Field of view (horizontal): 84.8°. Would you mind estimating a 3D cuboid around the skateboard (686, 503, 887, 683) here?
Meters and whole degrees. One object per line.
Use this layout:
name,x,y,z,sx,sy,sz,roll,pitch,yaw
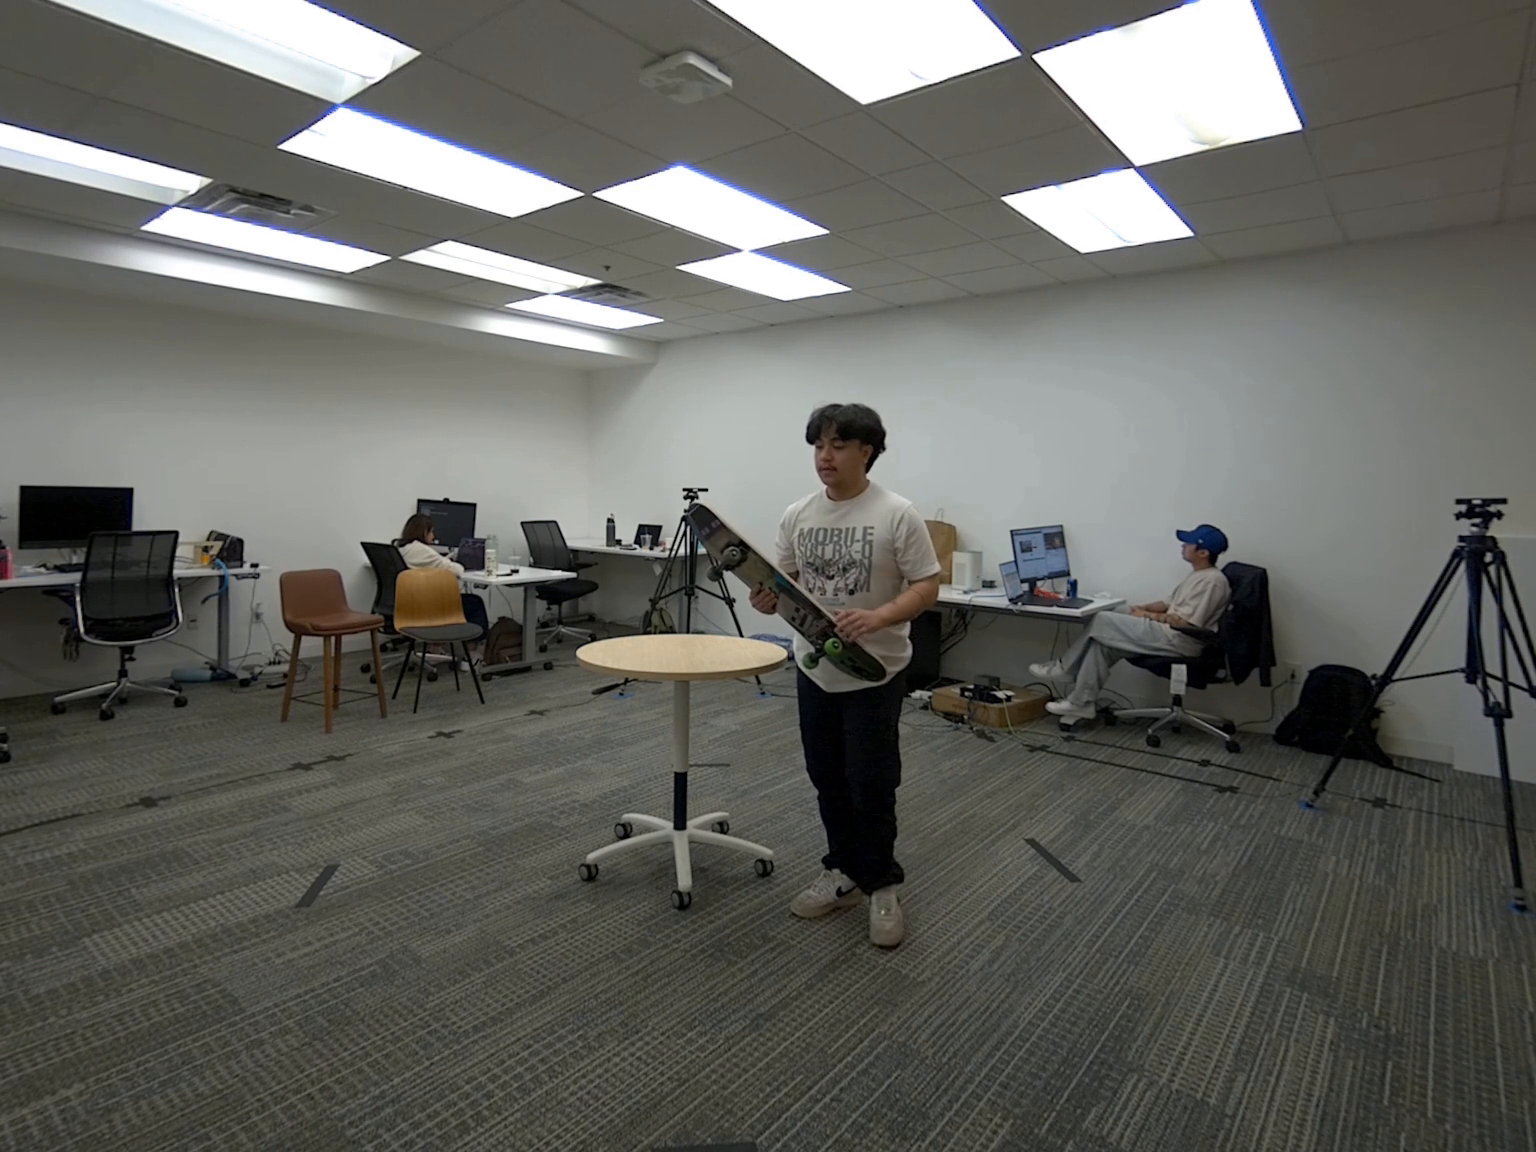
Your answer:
skateboard,0.028,0.082,2.559,0.110,0.787,0.193,-48,-1,-33
